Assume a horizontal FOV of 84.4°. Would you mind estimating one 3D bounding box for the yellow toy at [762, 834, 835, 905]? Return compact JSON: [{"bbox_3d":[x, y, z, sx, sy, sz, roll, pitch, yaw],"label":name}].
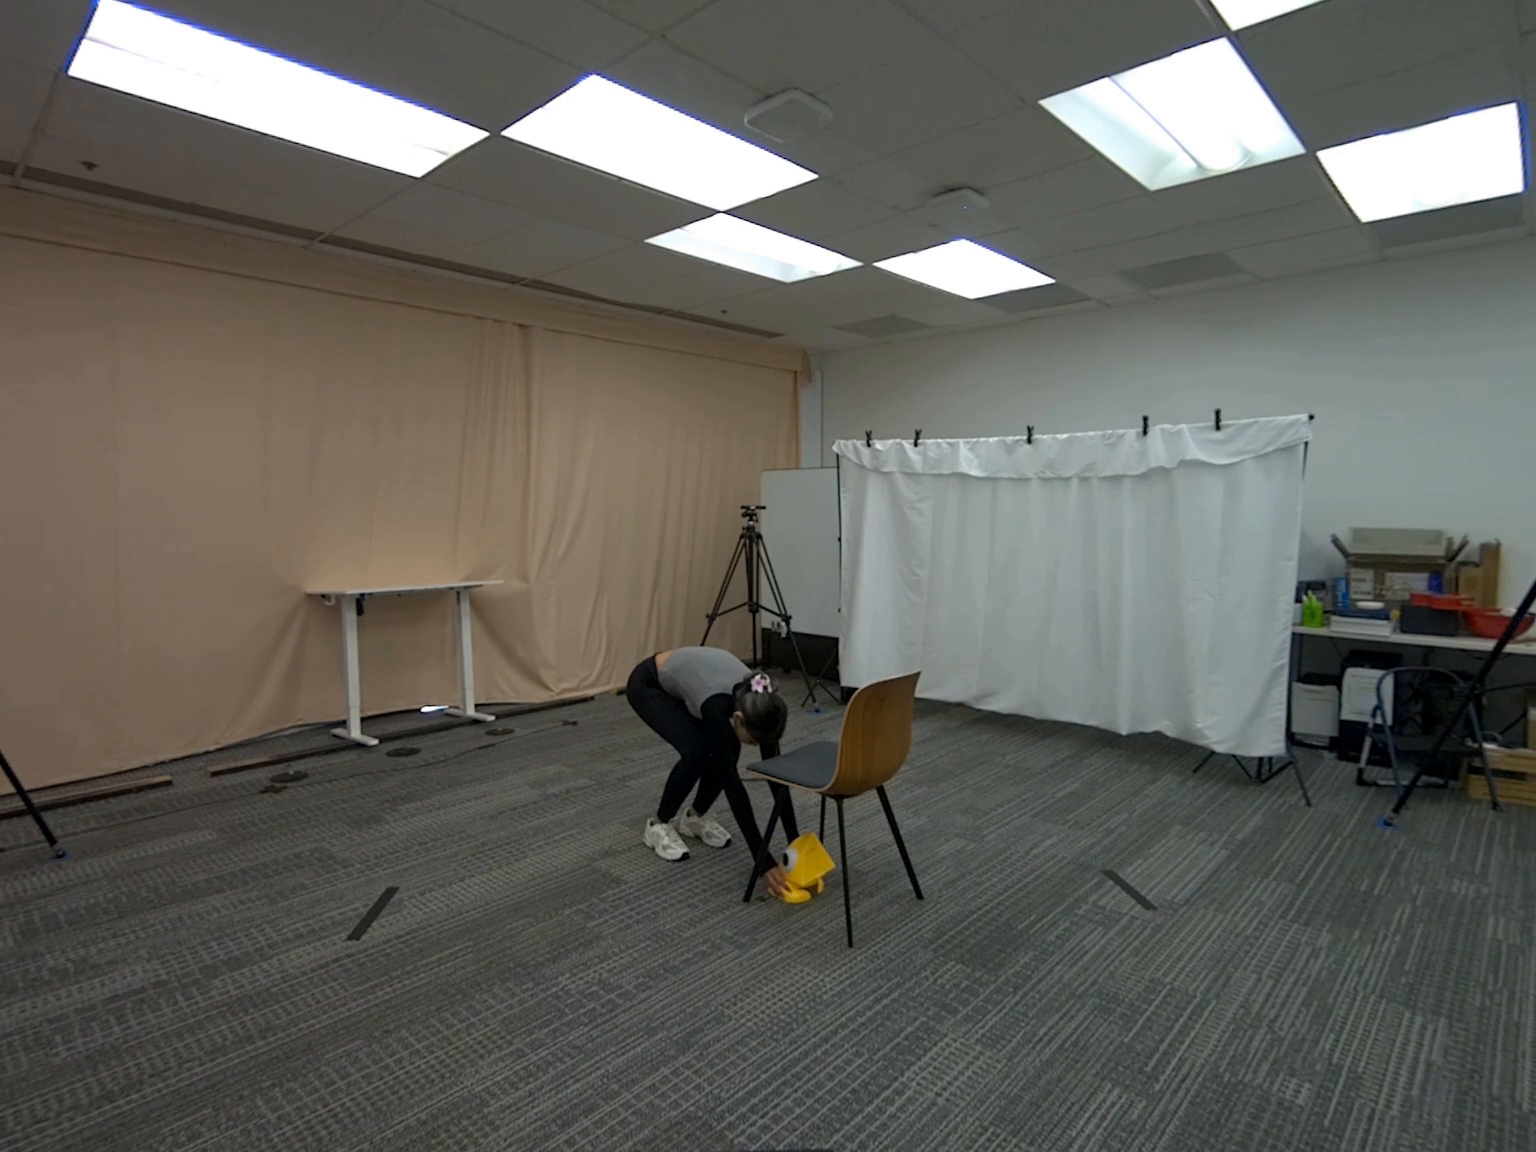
[{"bbox_3d":[0.112,1.030,3.045,0.199,0.230,0.198,4,5,40],"label":"yellow toy"}]
